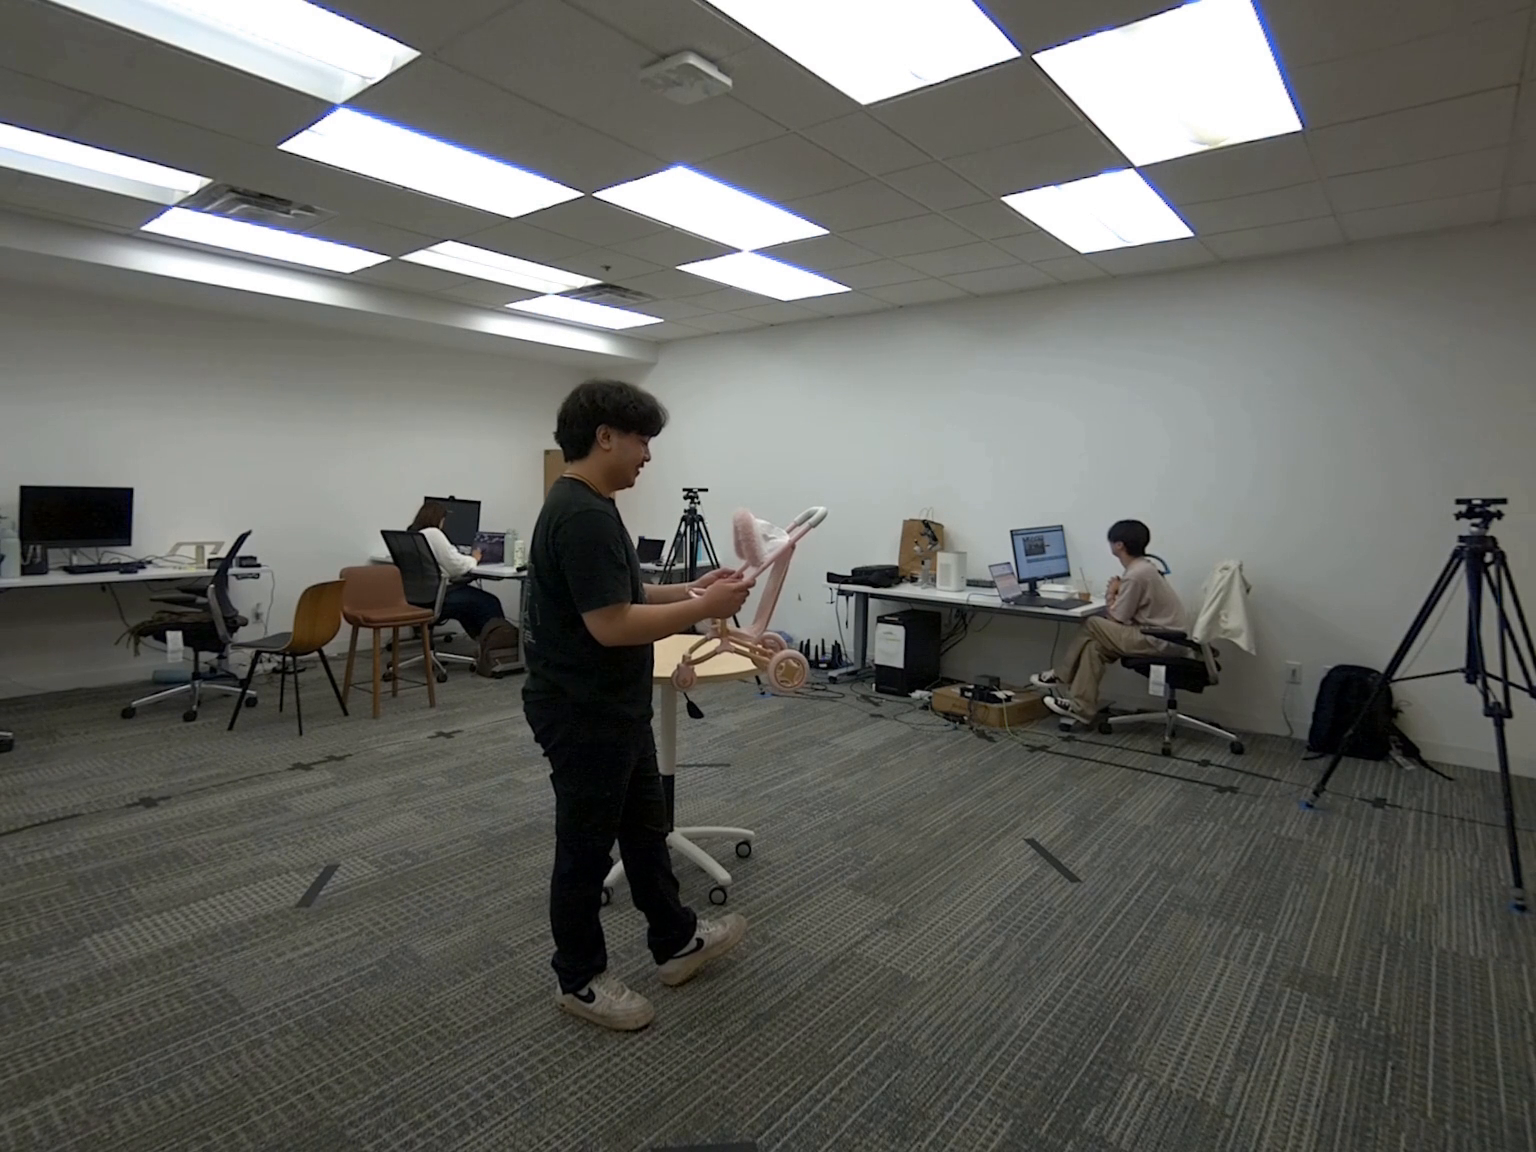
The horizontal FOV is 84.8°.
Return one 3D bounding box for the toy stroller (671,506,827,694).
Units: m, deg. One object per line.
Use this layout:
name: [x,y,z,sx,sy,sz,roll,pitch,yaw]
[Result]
toy stroller: [-0.065,0.059,2.249,0.340,0.533,0.284,8,4,-5]
